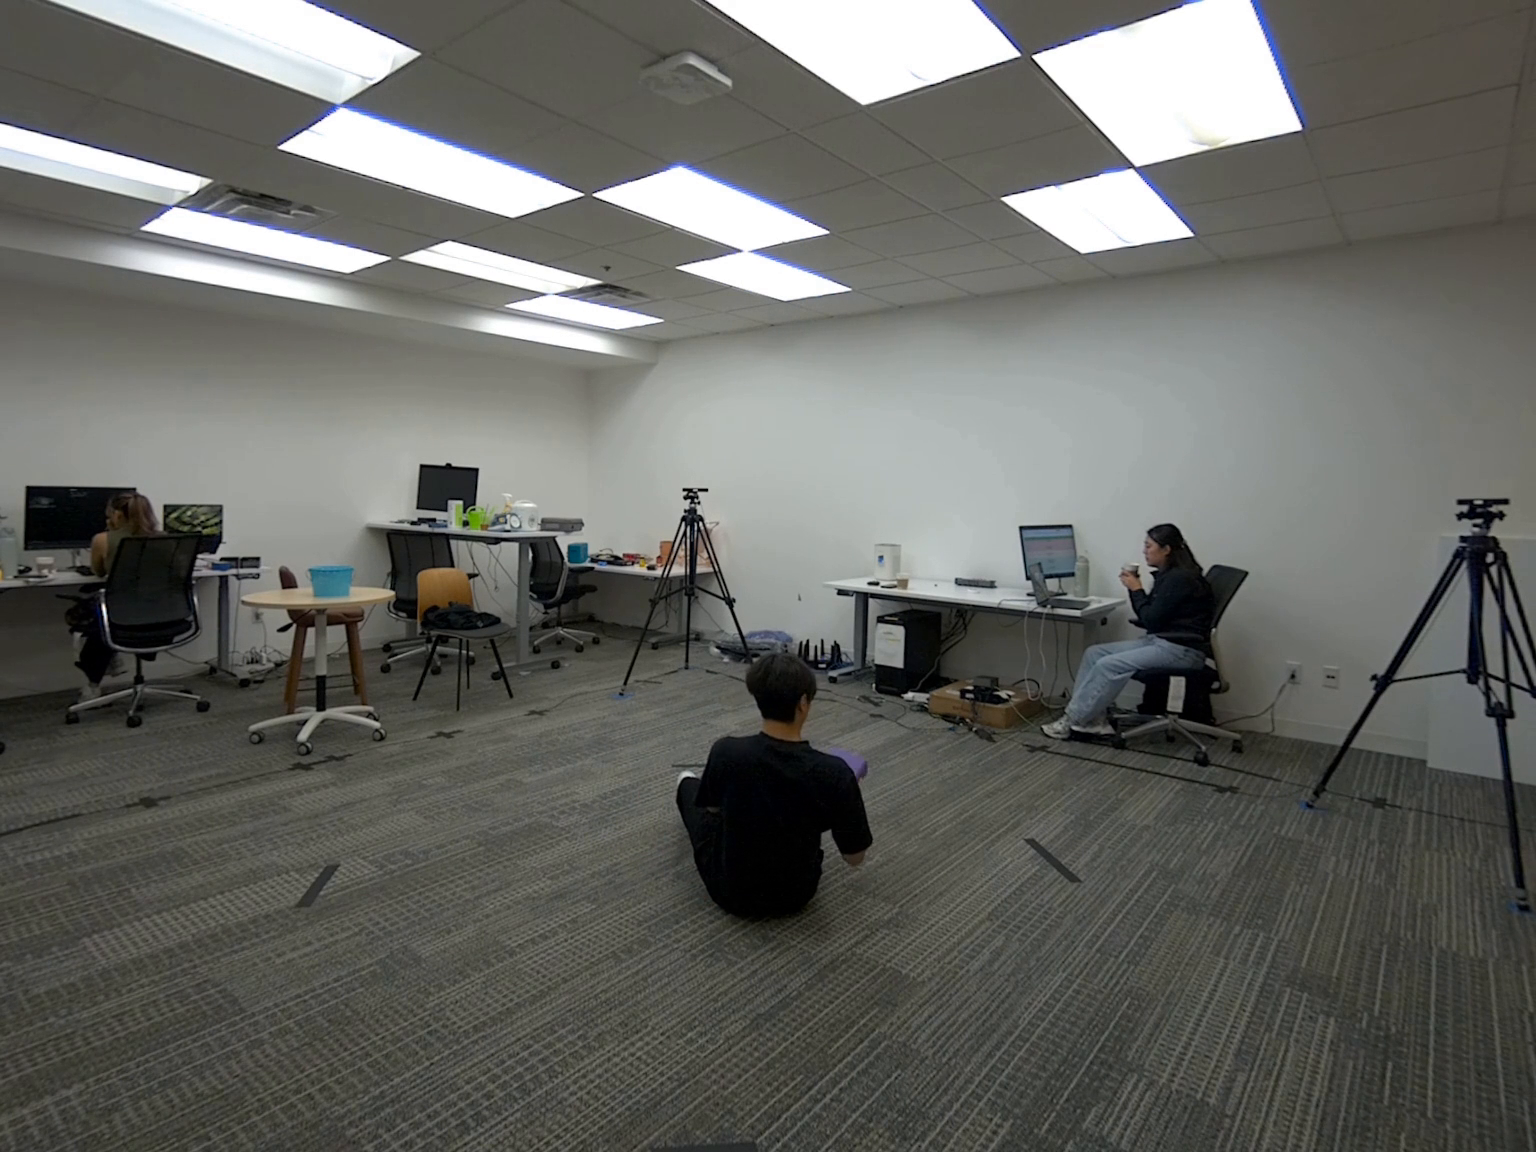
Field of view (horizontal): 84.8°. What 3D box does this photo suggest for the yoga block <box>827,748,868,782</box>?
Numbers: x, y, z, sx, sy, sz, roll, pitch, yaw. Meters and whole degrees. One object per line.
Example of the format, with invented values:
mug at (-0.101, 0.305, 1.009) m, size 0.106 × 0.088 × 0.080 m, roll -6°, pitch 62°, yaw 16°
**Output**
yoga block at (0.242, 0.740, 3.069) m, size 0.154 × 0.074 × 0.229 m, roll 13°, pitch 42°, yaw 28°
